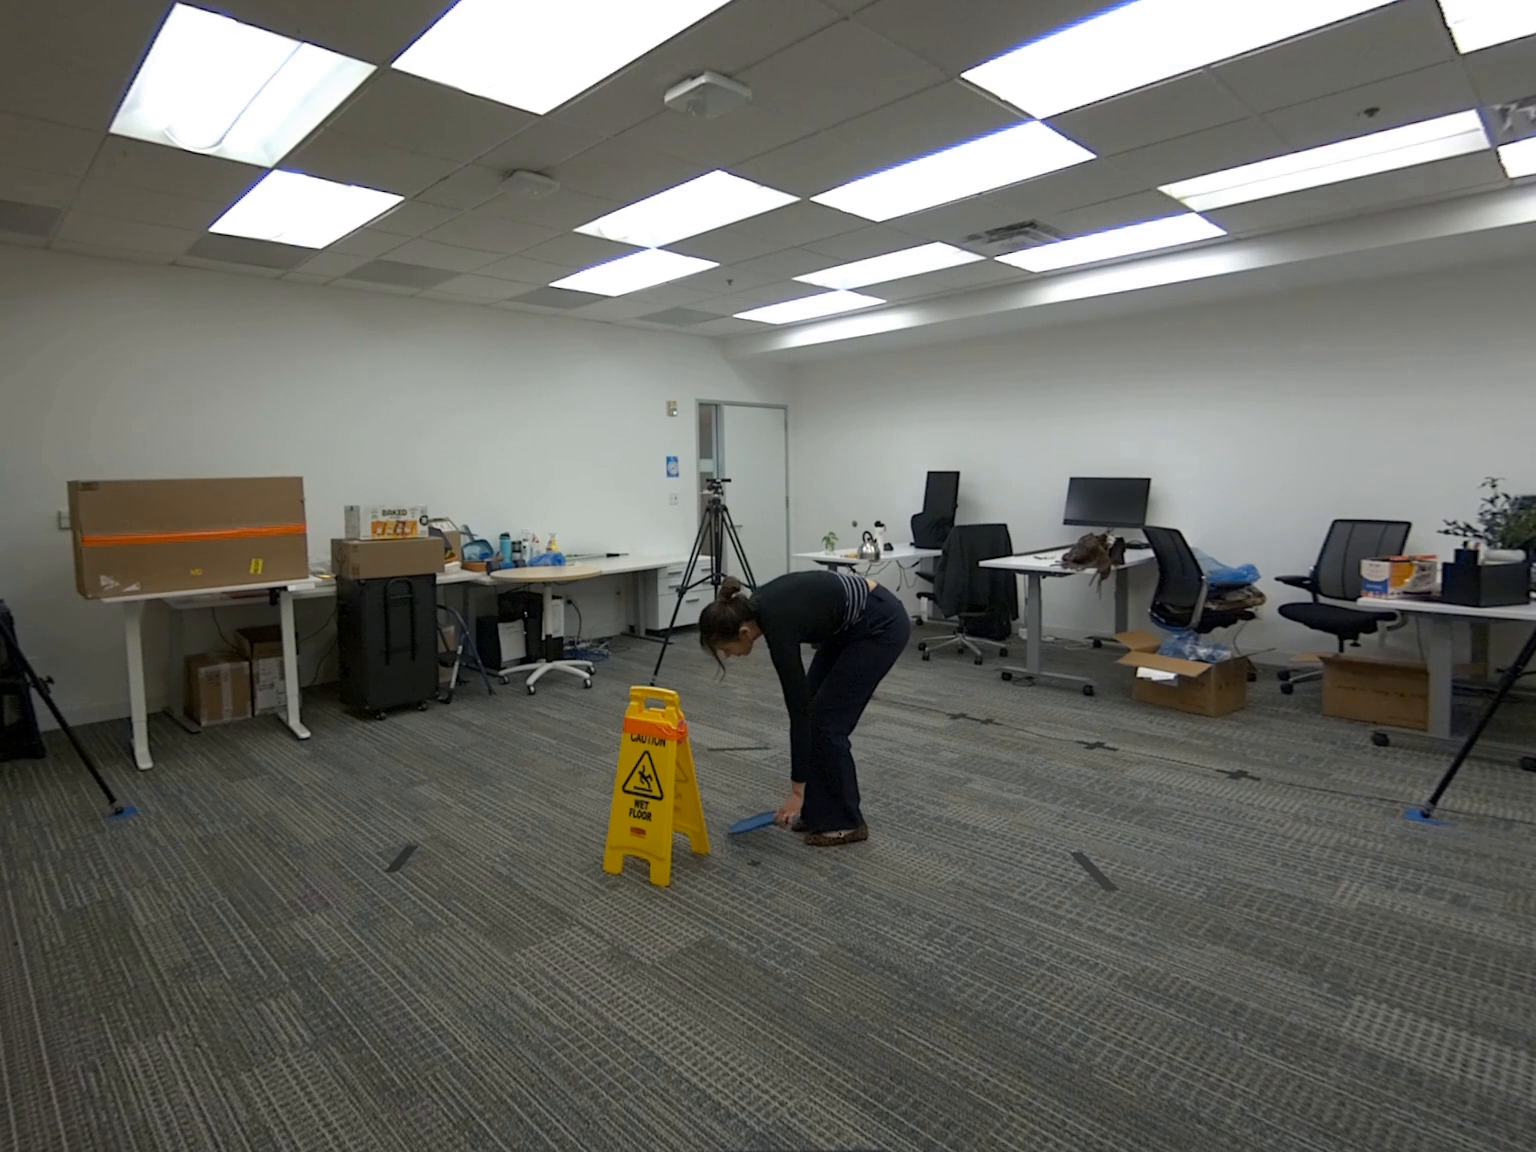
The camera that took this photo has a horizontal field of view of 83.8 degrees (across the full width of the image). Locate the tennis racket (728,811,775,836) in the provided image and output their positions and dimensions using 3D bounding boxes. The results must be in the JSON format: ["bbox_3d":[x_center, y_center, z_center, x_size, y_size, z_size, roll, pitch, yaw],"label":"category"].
[{"bbox_3d":[-0.001,0.939,3.247,0.209,0.032,0.438,-15,-7,-37],"label":"tennis racket"}]
